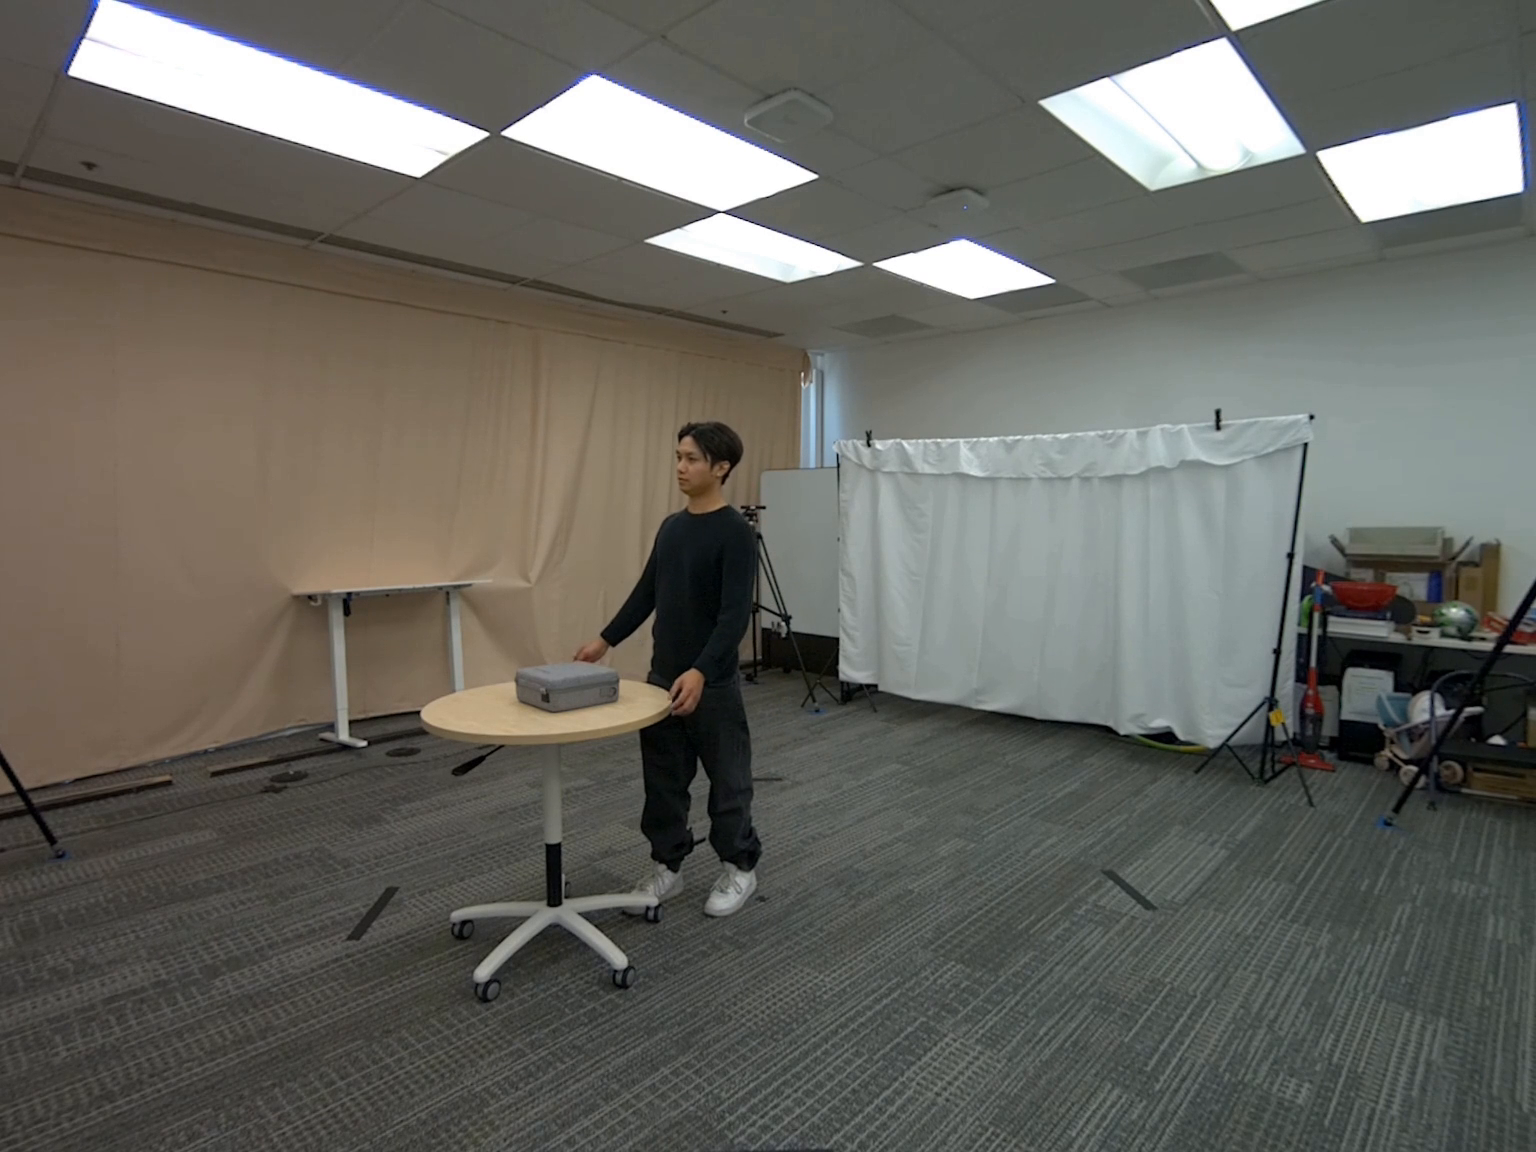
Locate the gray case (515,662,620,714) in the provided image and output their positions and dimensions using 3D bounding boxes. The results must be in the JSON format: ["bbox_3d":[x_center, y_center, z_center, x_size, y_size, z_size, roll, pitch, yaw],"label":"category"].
[{"bbox_3d":[-0.633,0.343,2.631,0.253,0.104,0.265,-4,5,-43],"label":"gray case"}]
